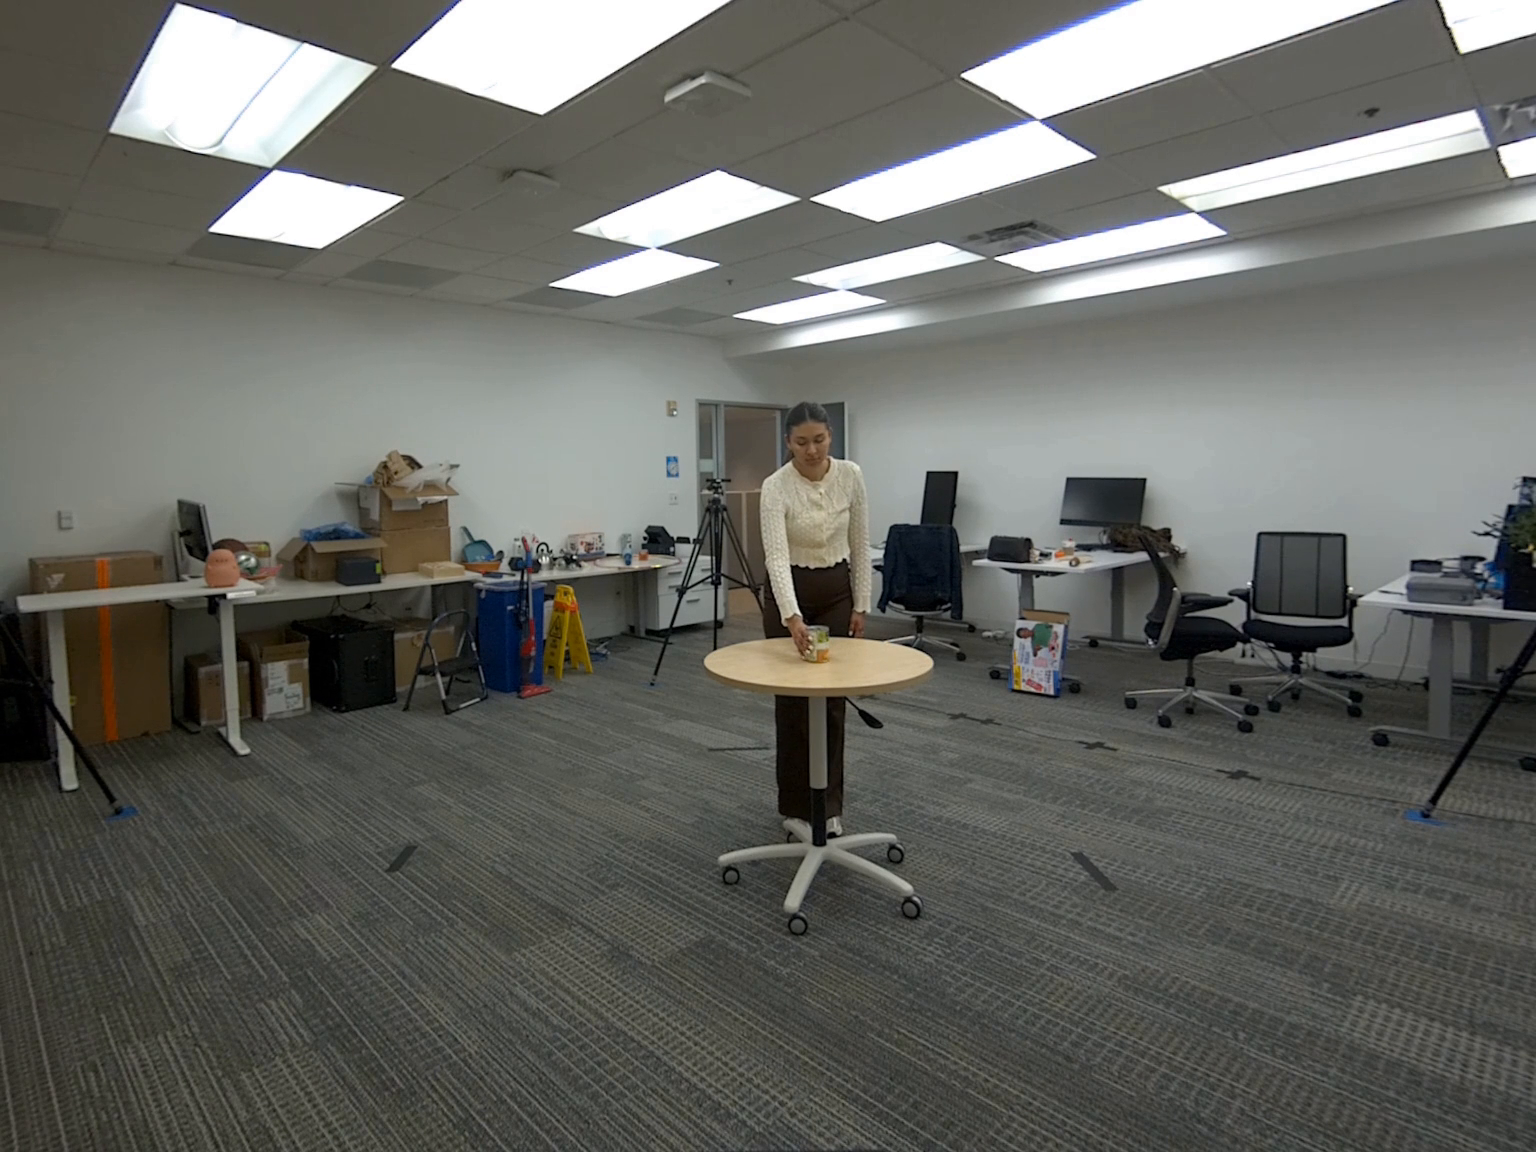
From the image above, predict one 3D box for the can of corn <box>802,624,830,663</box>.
[{"bbox_3d":[0.164,0.229,2.854,0.074,0.111,0.074,-4,4,-1],"label":"can of corn"}]
